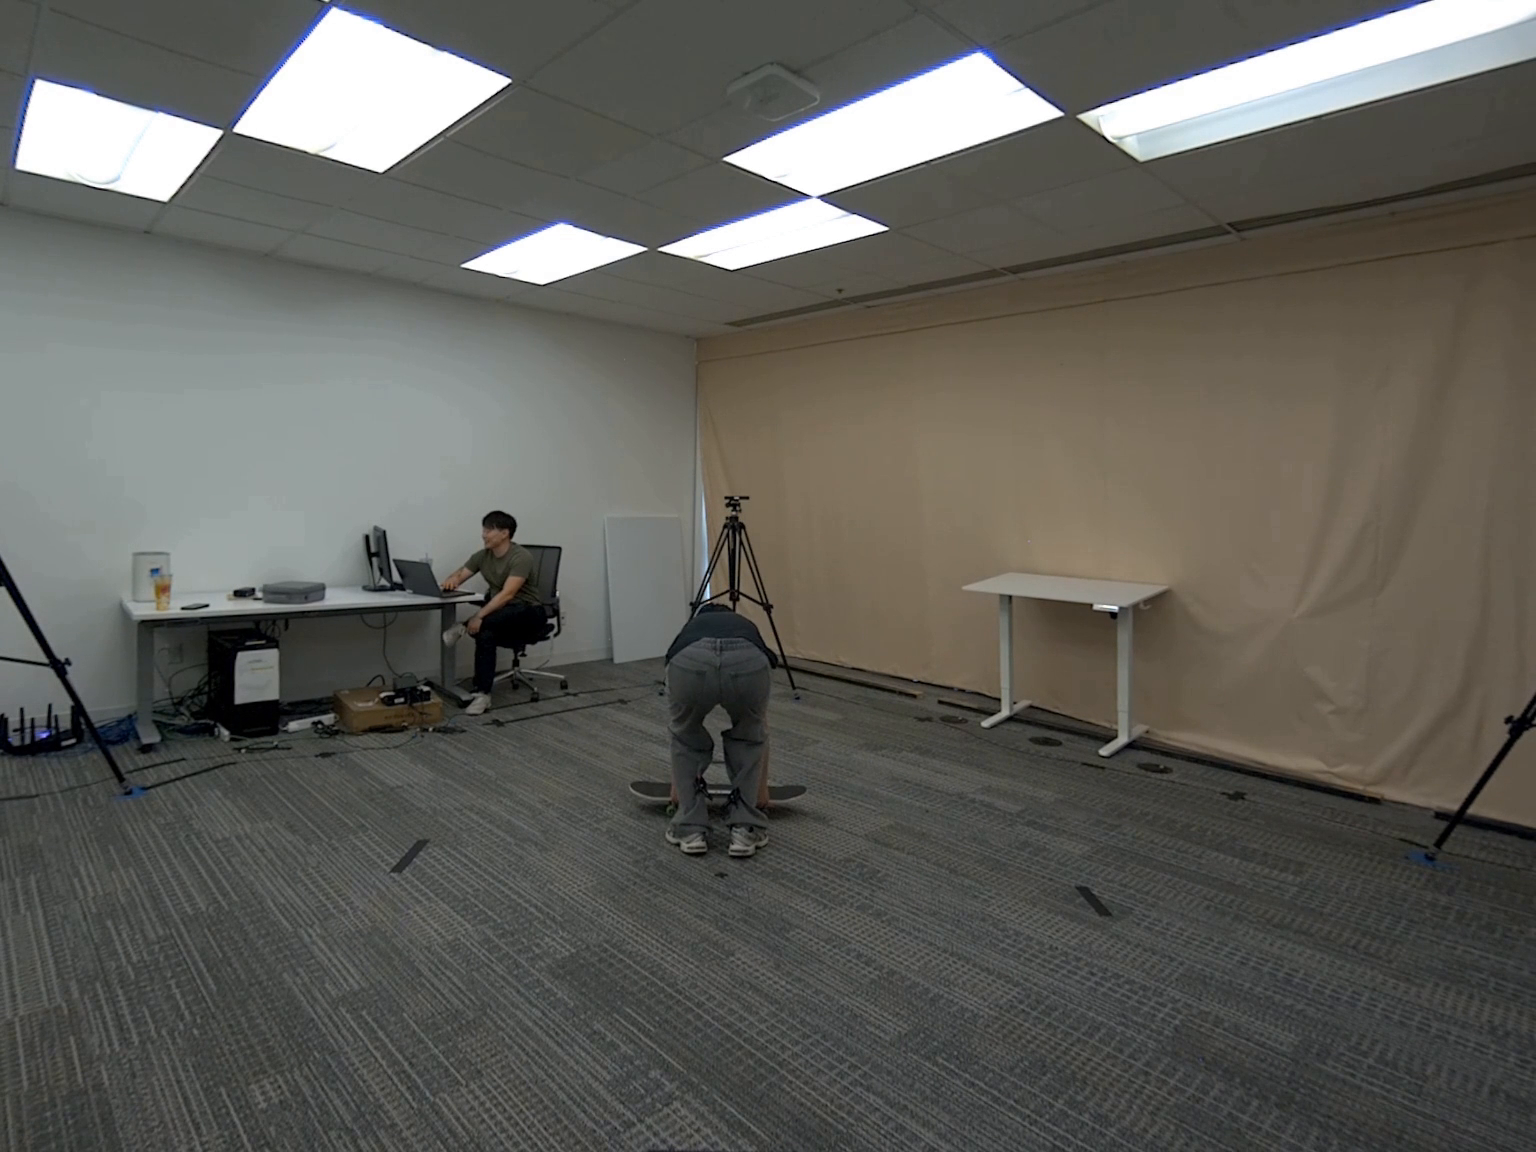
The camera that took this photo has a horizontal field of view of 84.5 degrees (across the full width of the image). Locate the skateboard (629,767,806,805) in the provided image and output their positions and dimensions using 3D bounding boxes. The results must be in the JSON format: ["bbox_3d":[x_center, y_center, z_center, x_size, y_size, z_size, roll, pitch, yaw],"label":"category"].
[{"bbox_3d":[-0.227,0.981,3.740,0.785,0.110,0.194,2,5,0],"label":"skateboard"}]
